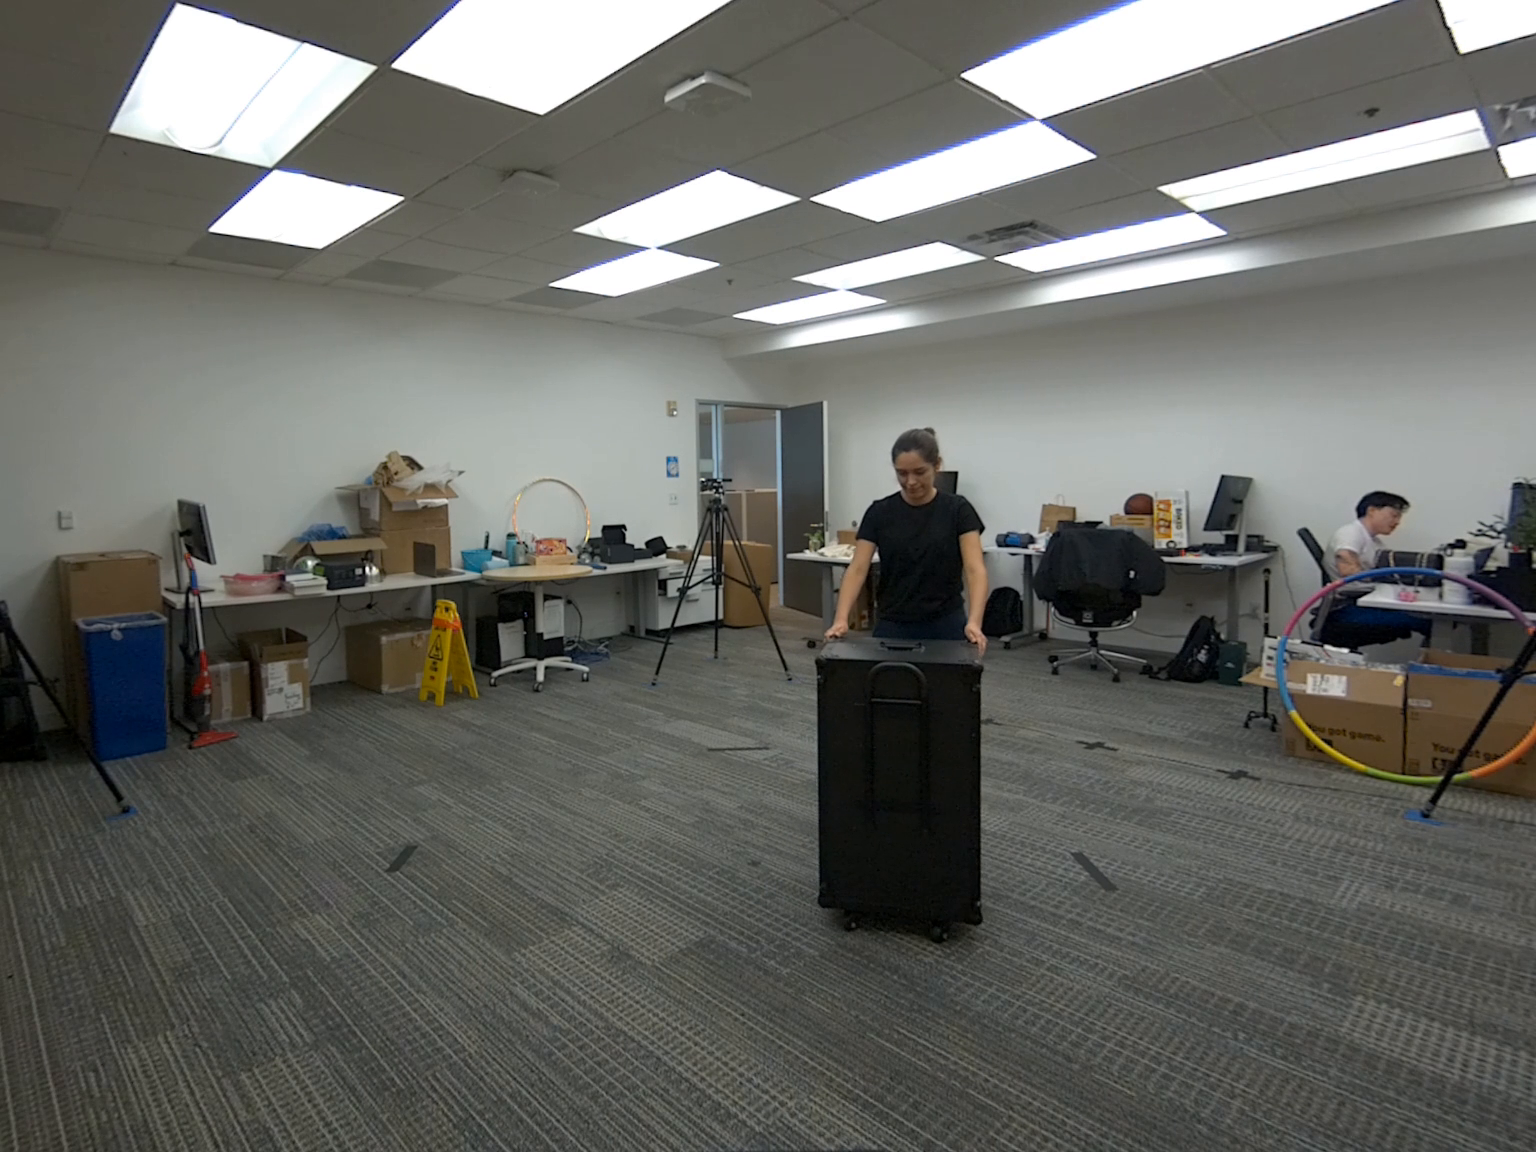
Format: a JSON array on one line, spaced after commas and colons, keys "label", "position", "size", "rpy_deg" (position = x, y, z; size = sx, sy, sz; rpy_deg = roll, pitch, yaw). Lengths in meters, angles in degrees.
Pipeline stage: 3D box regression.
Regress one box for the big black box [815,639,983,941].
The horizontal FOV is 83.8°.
[{"label": "big black box", "position": [0.421, 0.651, 2.726], "size": [0.529, 0.858, 0.392], "rpy_deg": [0, 4, 14]}]
